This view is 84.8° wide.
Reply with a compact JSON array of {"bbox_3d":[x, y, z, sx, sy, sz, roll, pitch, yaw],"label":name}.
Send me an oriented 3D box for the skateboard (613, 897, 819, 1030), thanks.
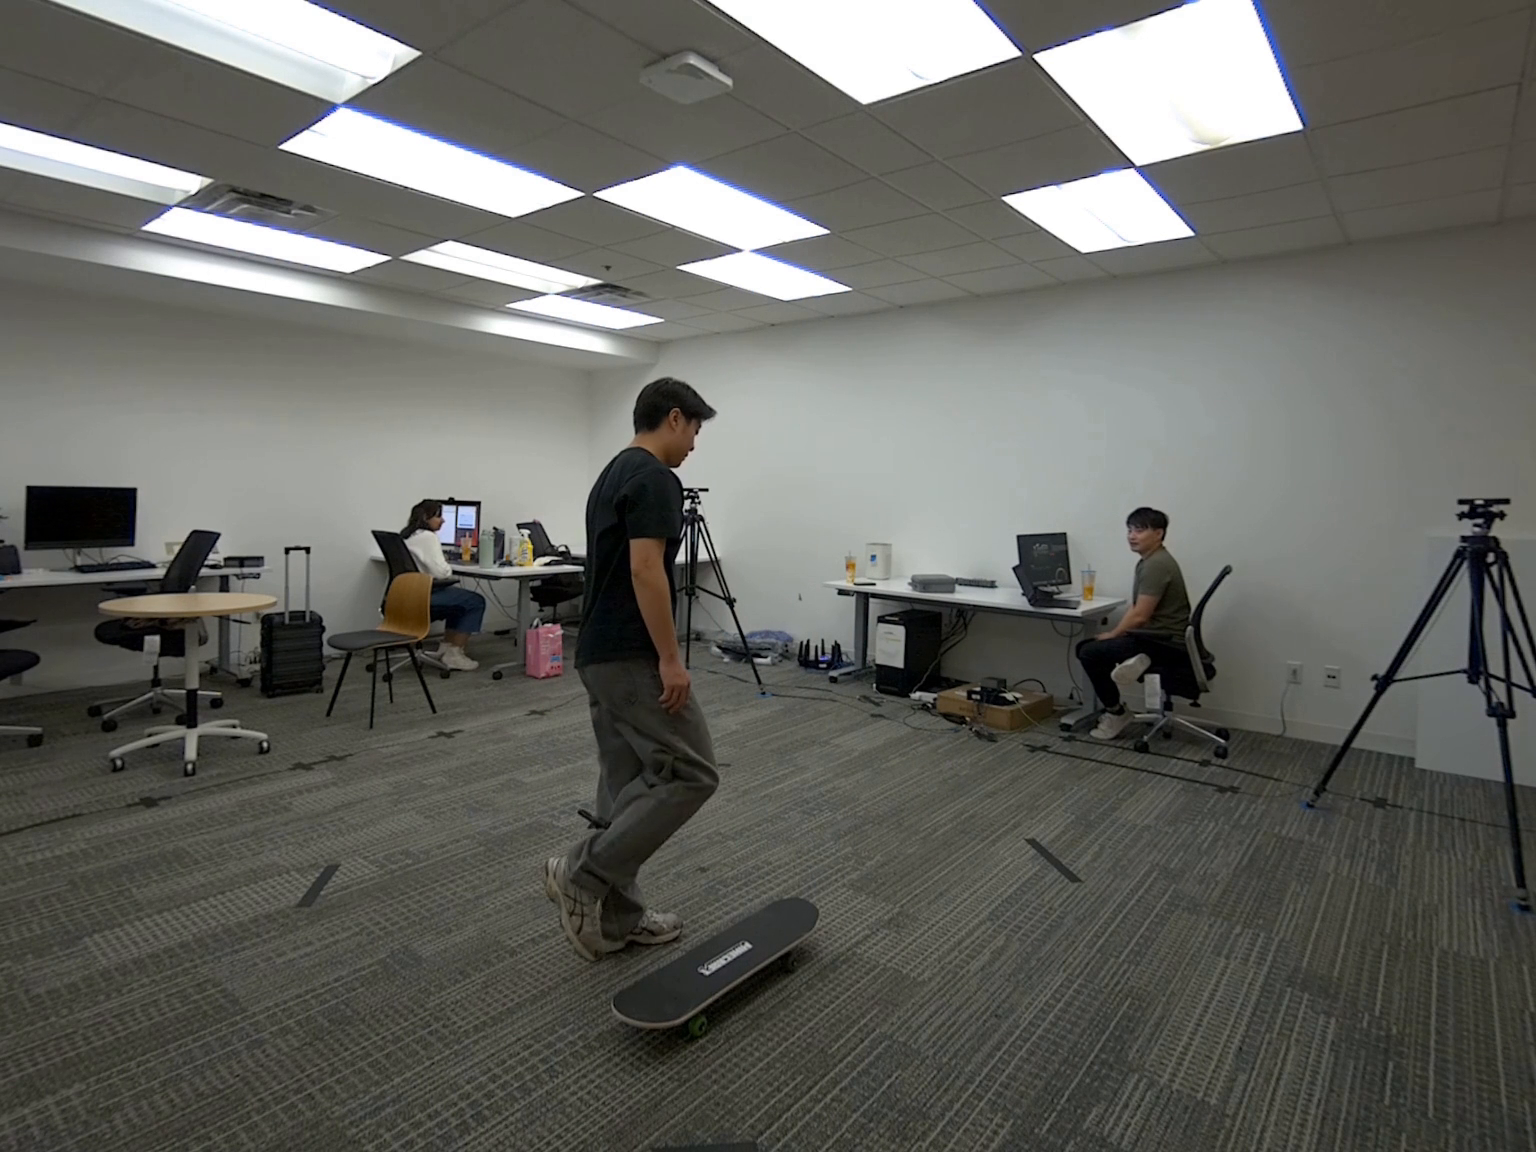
[{"bbox_3d":[-0.123,1.091,2.361,0.200,0.110,0.762,6,8,39],"label":"skateboard"}]
